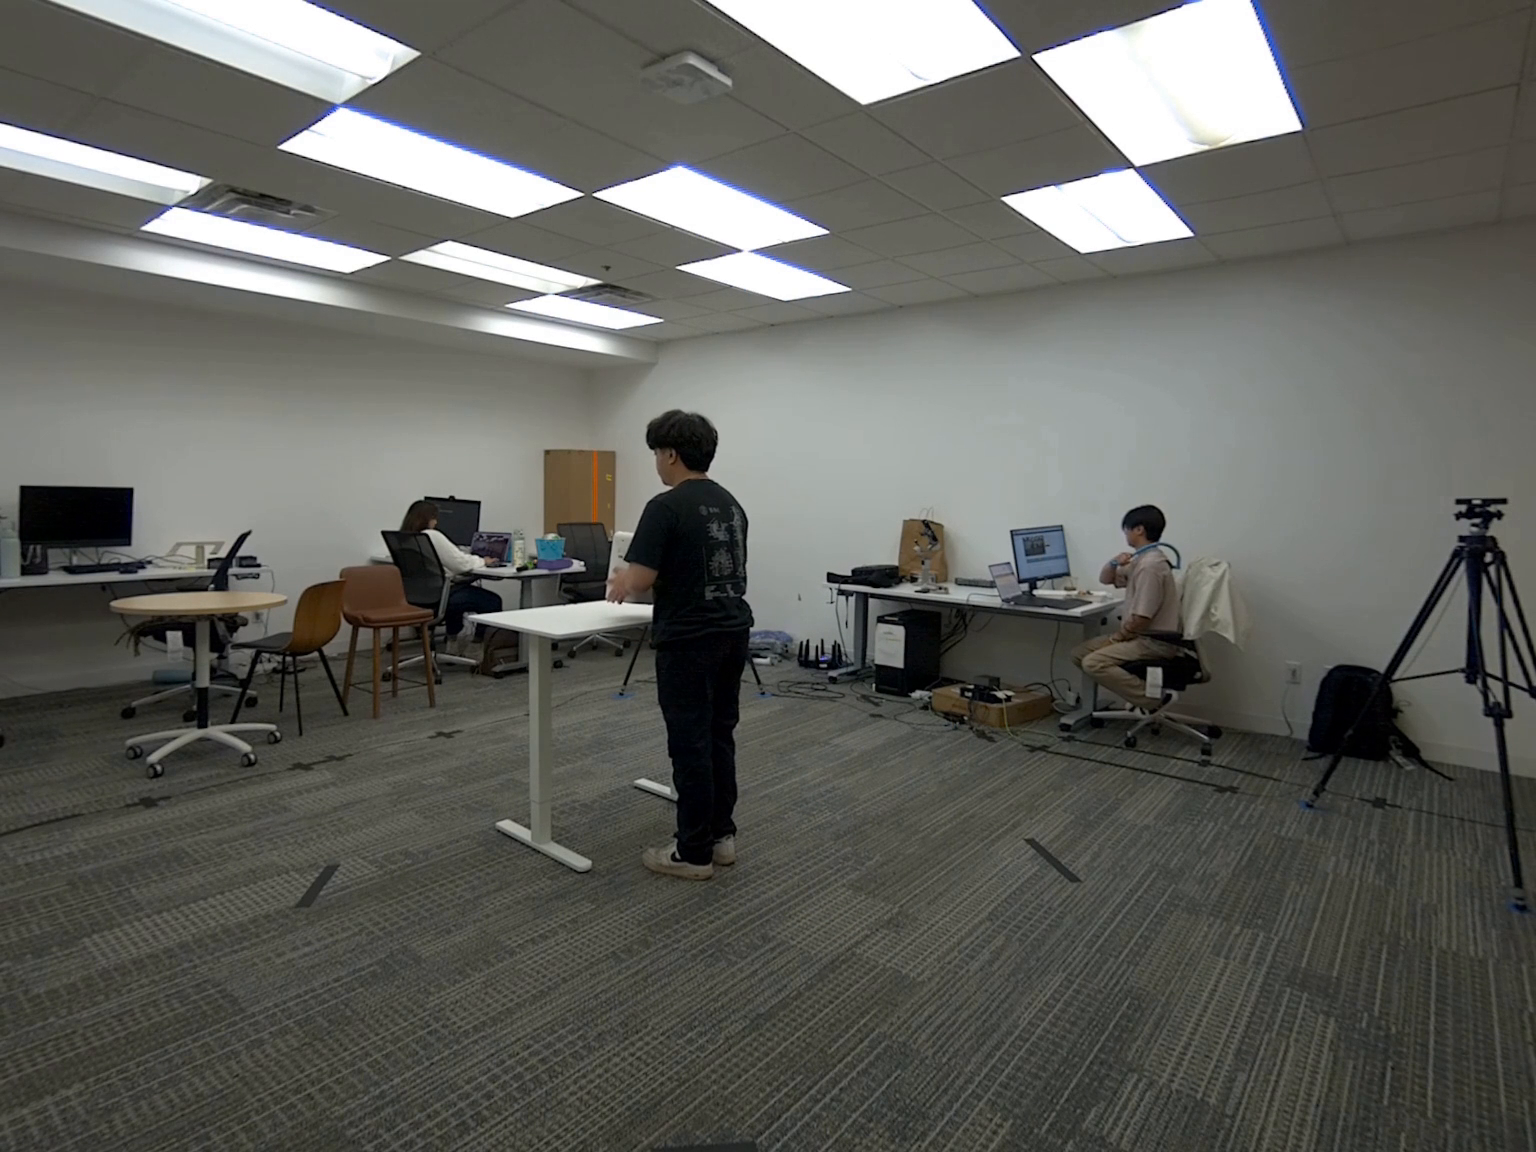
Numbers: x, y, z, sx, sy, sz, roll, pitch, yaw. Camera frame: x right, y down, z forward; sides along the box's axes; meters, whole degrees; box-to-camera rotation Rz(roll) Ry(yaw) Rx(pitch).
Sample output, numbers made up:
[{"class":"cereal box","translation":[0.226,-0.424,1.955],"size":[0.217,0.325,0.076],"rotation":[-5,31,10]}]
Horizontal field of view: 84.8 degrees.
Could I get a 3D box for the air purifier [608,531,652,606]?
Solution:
[{"class":"air purifier","translation":[-0.535,-0.037,3.323],"size":[0.177,0.265,0.166],"rotation":[6,0,38]}]
